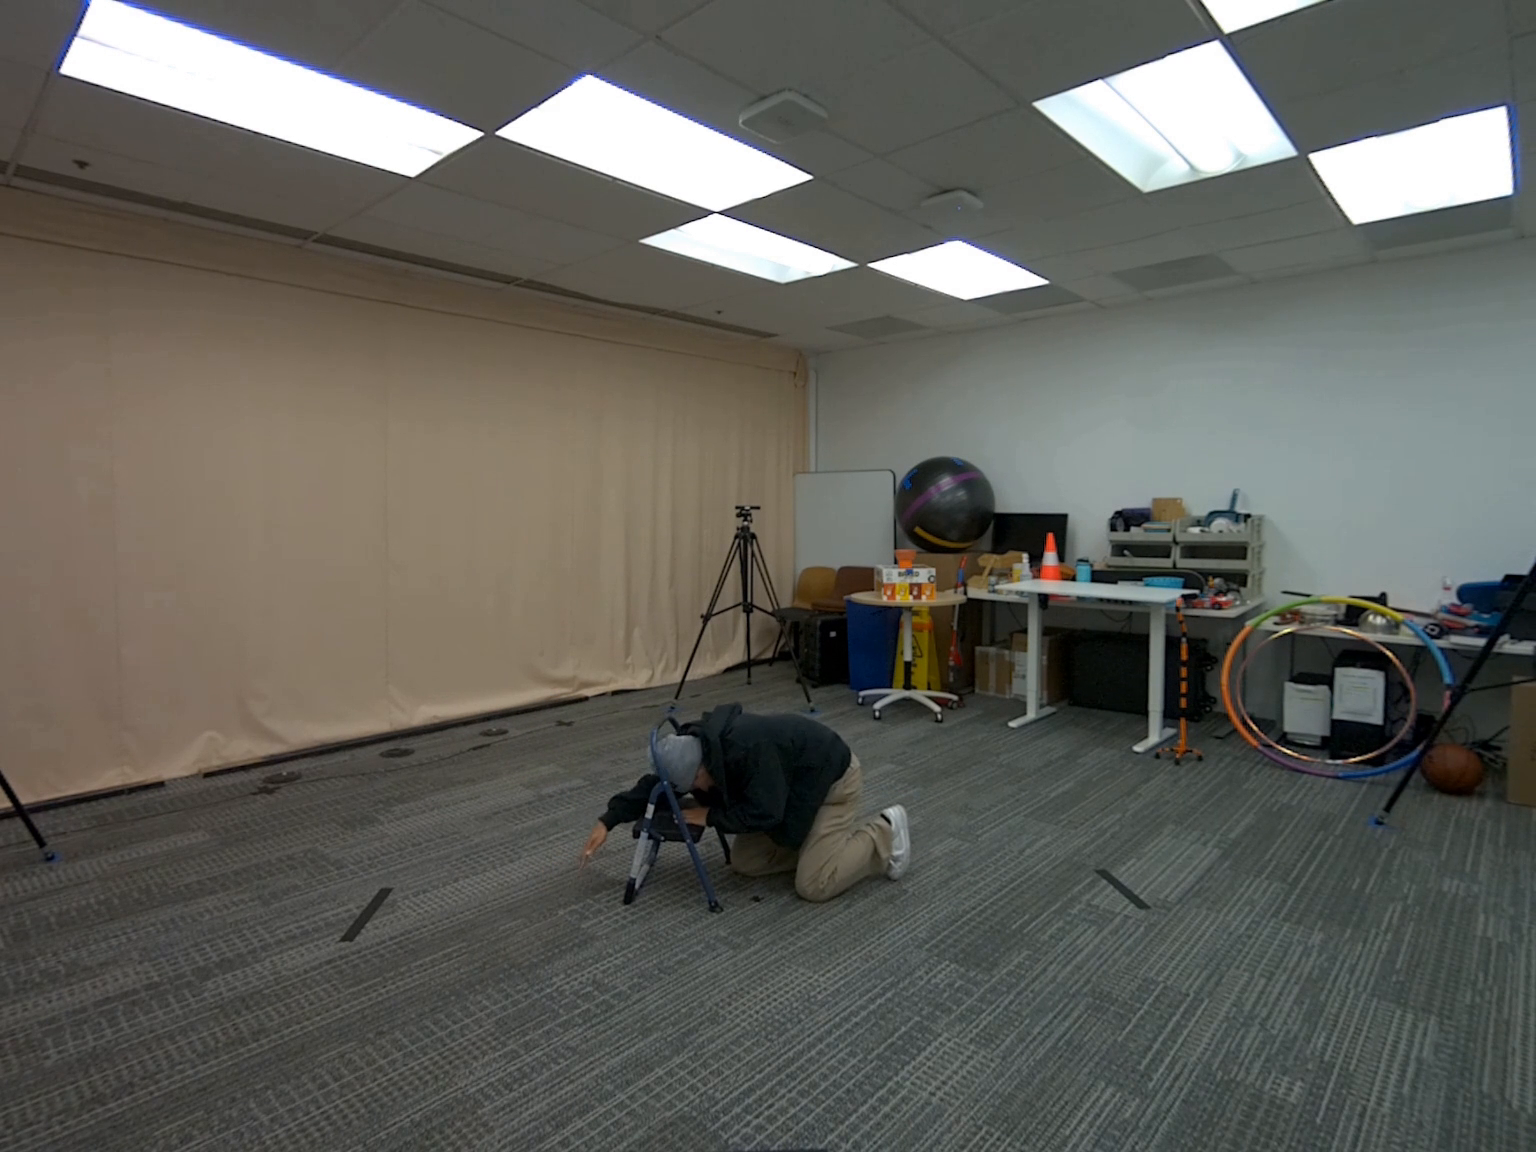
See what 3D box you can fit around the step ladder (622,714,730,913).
[{"bbox_3d":[-0.313,0.837,3.101,0.351,0.605,0.429,1,3,4],"label":"step ladder"}]
